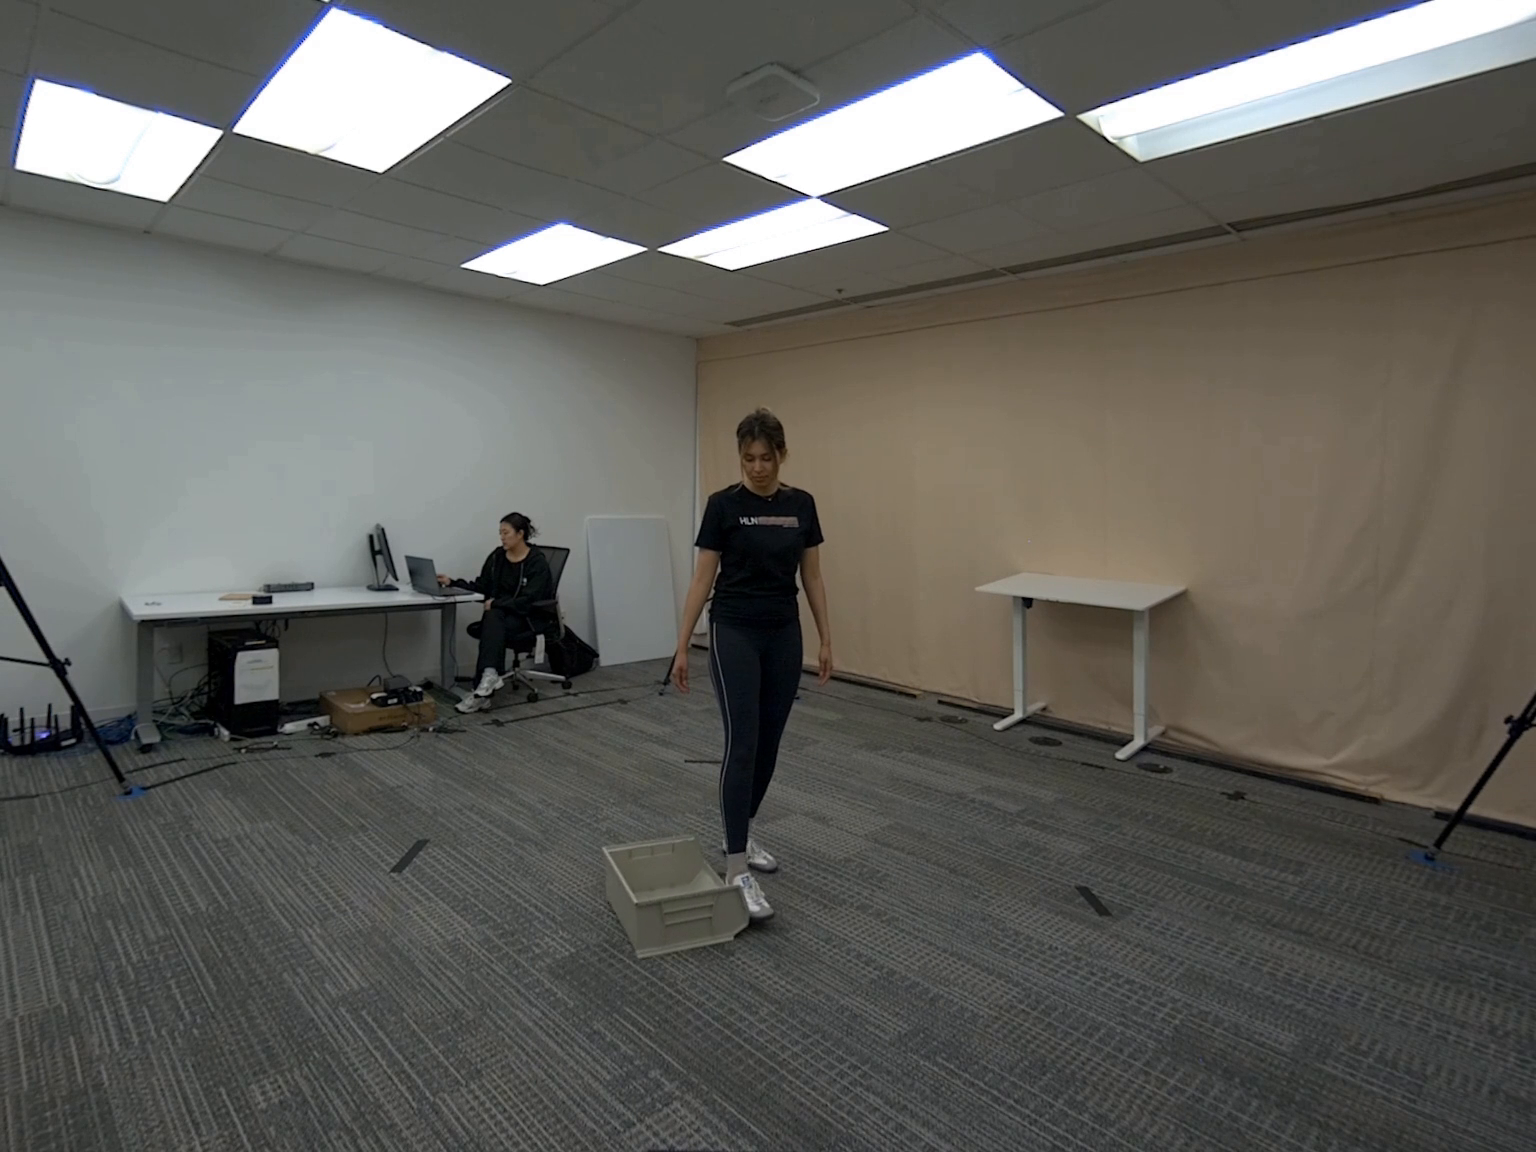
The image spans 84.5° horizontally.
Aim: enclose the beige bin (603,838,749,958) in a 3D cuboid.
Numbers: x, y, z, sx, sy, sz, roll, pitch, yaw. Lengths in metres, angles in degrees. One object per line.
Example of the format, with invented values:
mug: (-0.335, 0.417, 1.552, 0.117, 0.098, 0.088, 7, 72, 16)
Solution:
beige bin: (-0.320, 1.042, 2.774, 0.371, 0.188, 0.431, -2, 6, -24)
